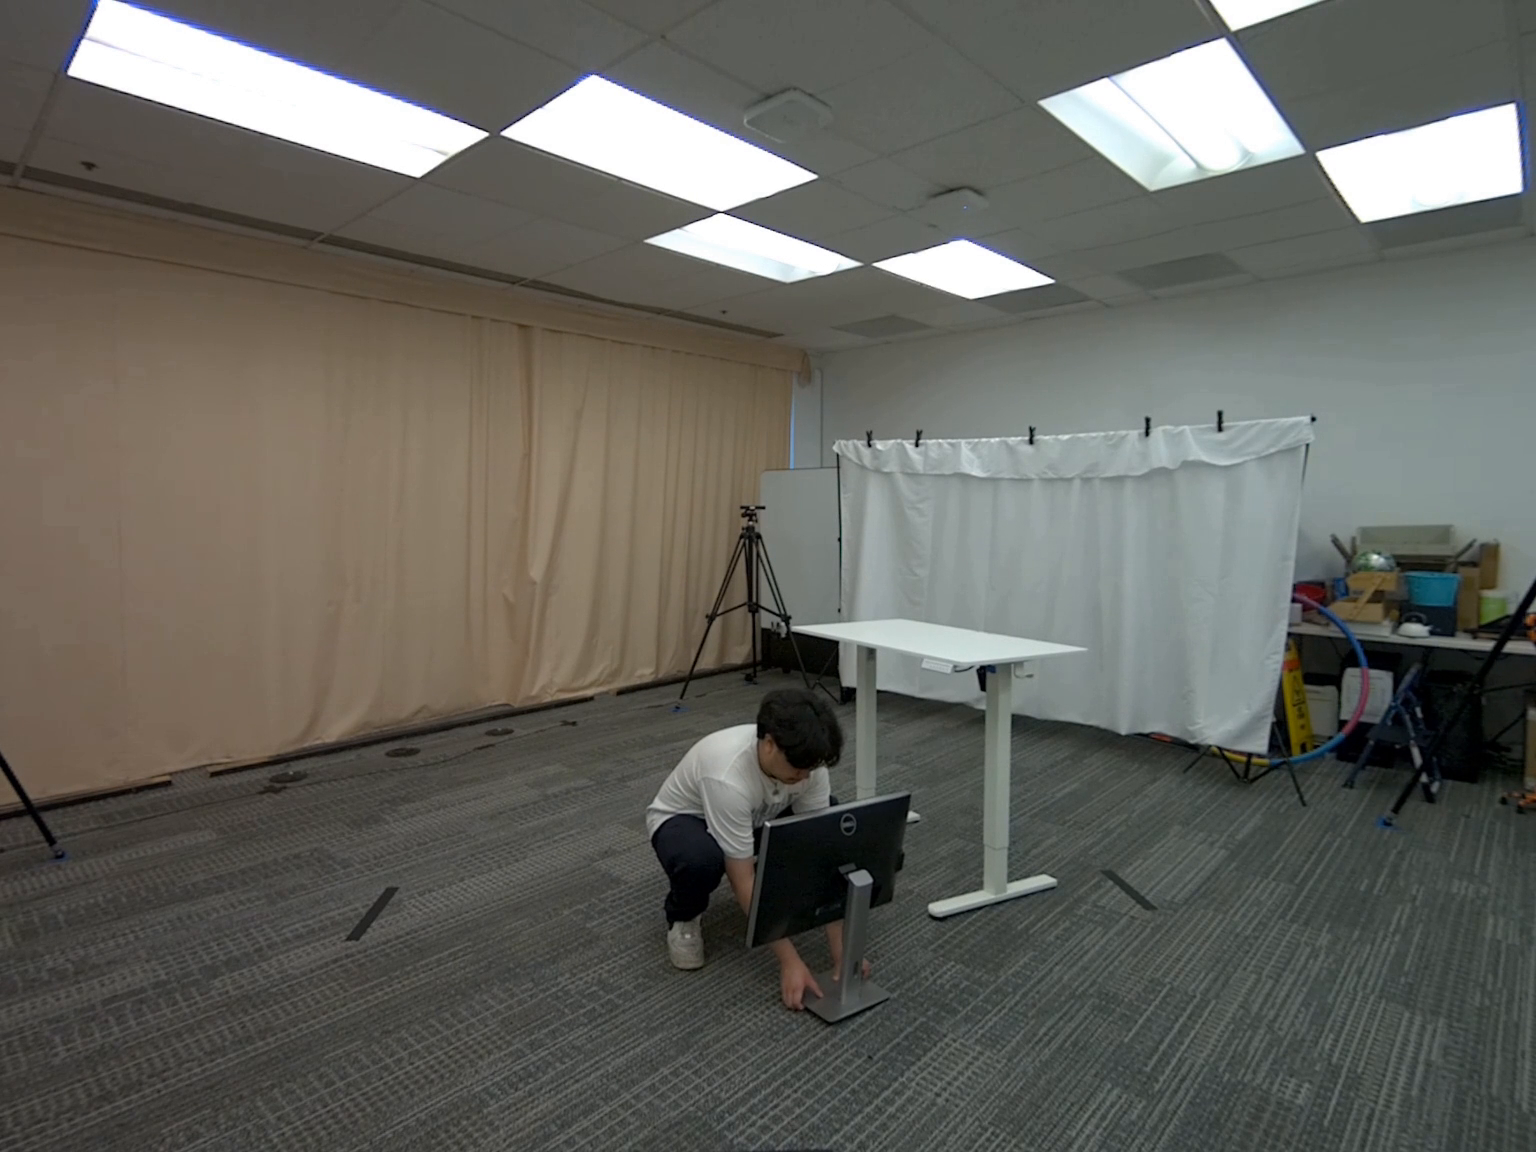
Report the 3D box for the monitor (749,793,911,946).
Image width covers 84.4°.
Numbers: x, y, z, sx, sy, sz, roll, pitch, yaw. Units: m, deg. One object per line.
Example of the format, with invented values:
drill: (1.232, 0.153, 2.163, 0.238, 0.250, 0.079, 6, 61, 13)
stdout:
monitor: (0.224, 0.923, 2.364, 0.548, 0.552, 0.217, 2, 6, -38)
